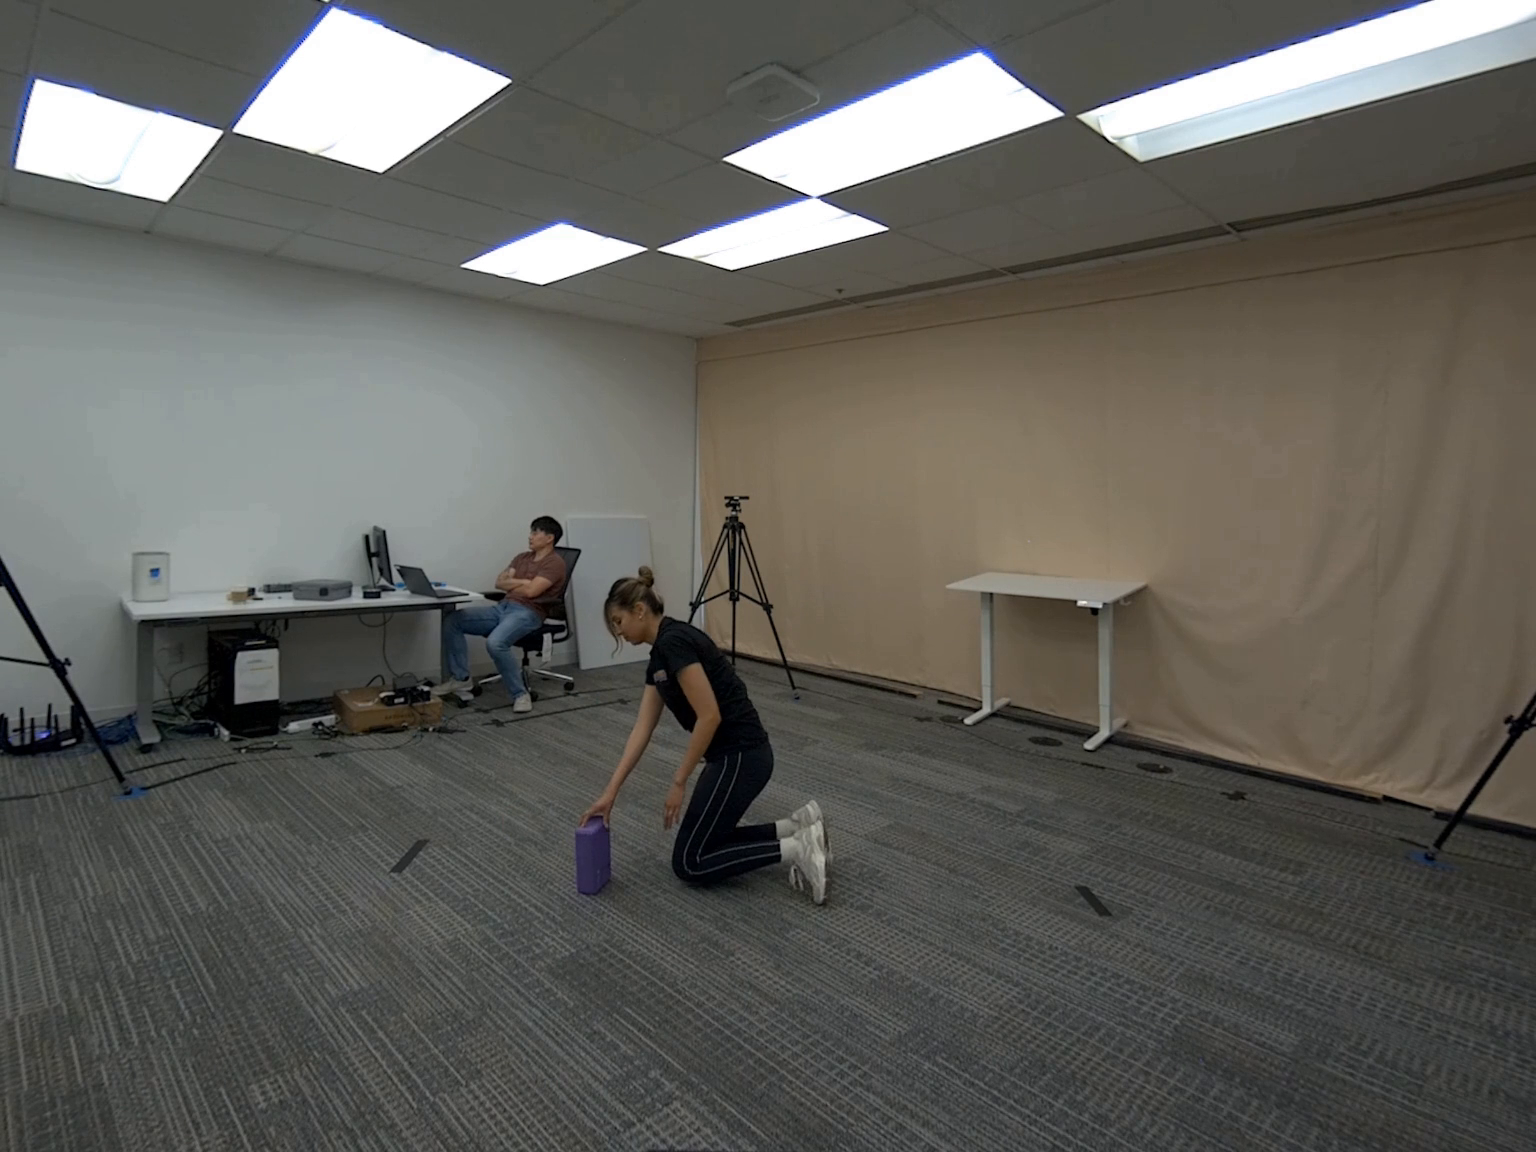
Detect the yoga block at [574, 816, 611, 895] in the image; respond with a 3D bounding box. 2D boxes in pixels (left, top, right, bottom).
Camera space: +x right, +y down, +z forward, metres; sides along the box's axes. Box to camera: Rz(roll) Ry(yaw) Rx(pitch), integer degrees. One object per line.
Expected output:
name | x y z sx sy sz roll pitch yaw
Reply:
yoga block | -0.621 0.986 2.988 0.077 0.228 0.148 1 5 11
